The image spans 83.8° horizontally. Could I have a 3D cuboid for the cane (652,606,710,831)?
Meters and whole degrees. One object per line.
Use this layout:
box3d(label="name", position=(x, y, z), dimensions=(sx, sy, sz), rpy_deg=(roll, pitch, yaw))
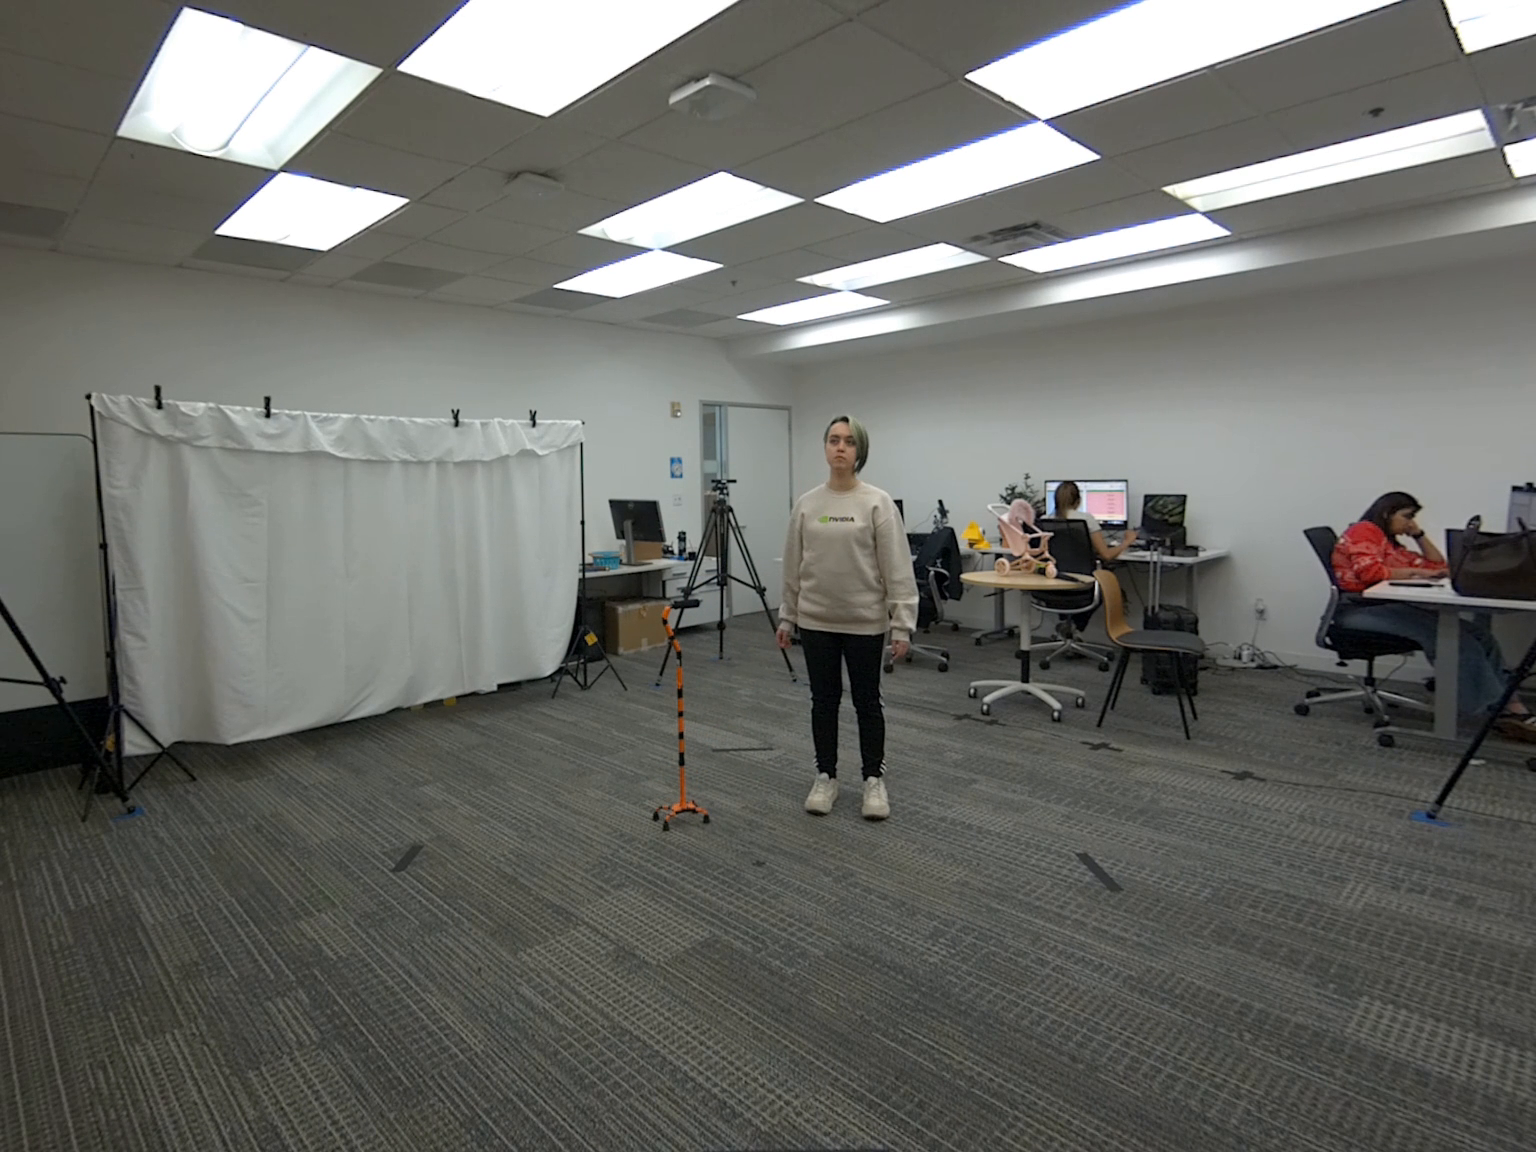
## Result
box3d(label="cane", position=(-0.362, 0.557, 3.498), dimensions=(0.202, 0.905, 0.155), rpy_deg=(-2, 4, -26))
